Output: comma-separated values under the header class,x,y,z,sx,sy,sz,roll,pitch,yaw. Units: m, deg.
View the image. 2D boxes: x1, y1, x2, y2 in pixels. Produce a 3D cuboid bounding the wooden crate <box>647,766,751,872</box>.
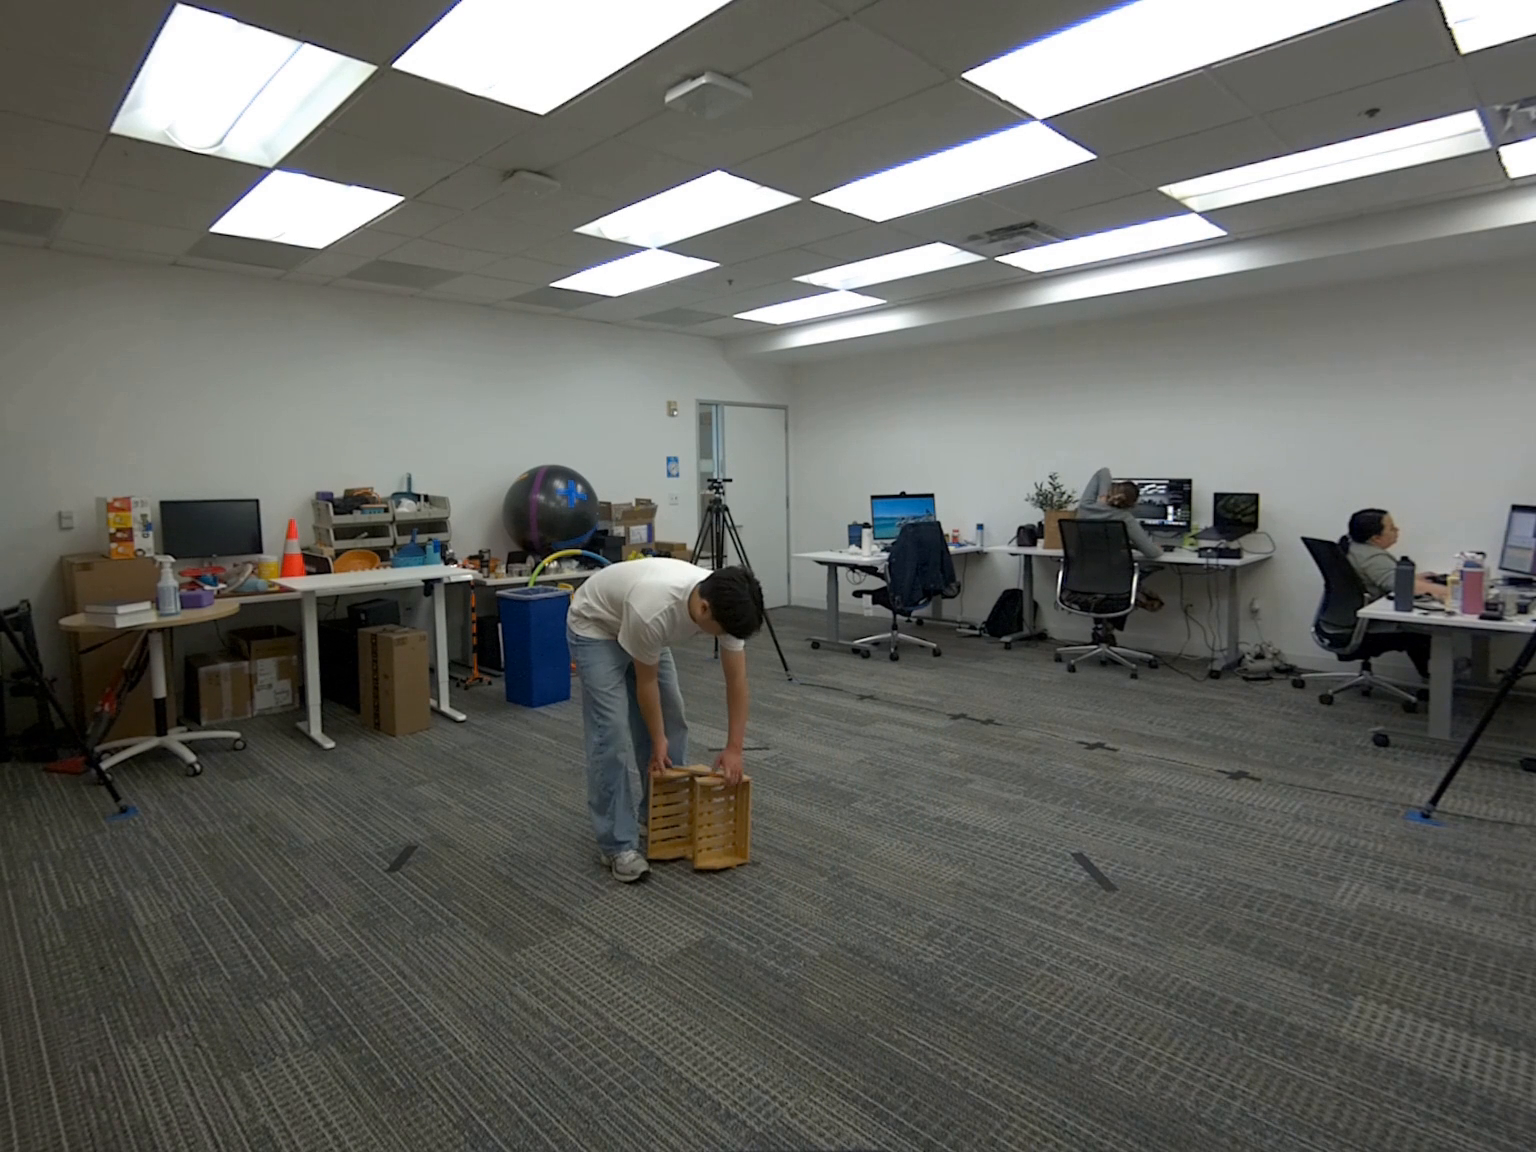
class,x,y,z,sx,sy,sz,roll,pitch,yaw
wooden crate,-0.255,0.873,3.115,0.293,0.325,0.281,2,-2,-39
